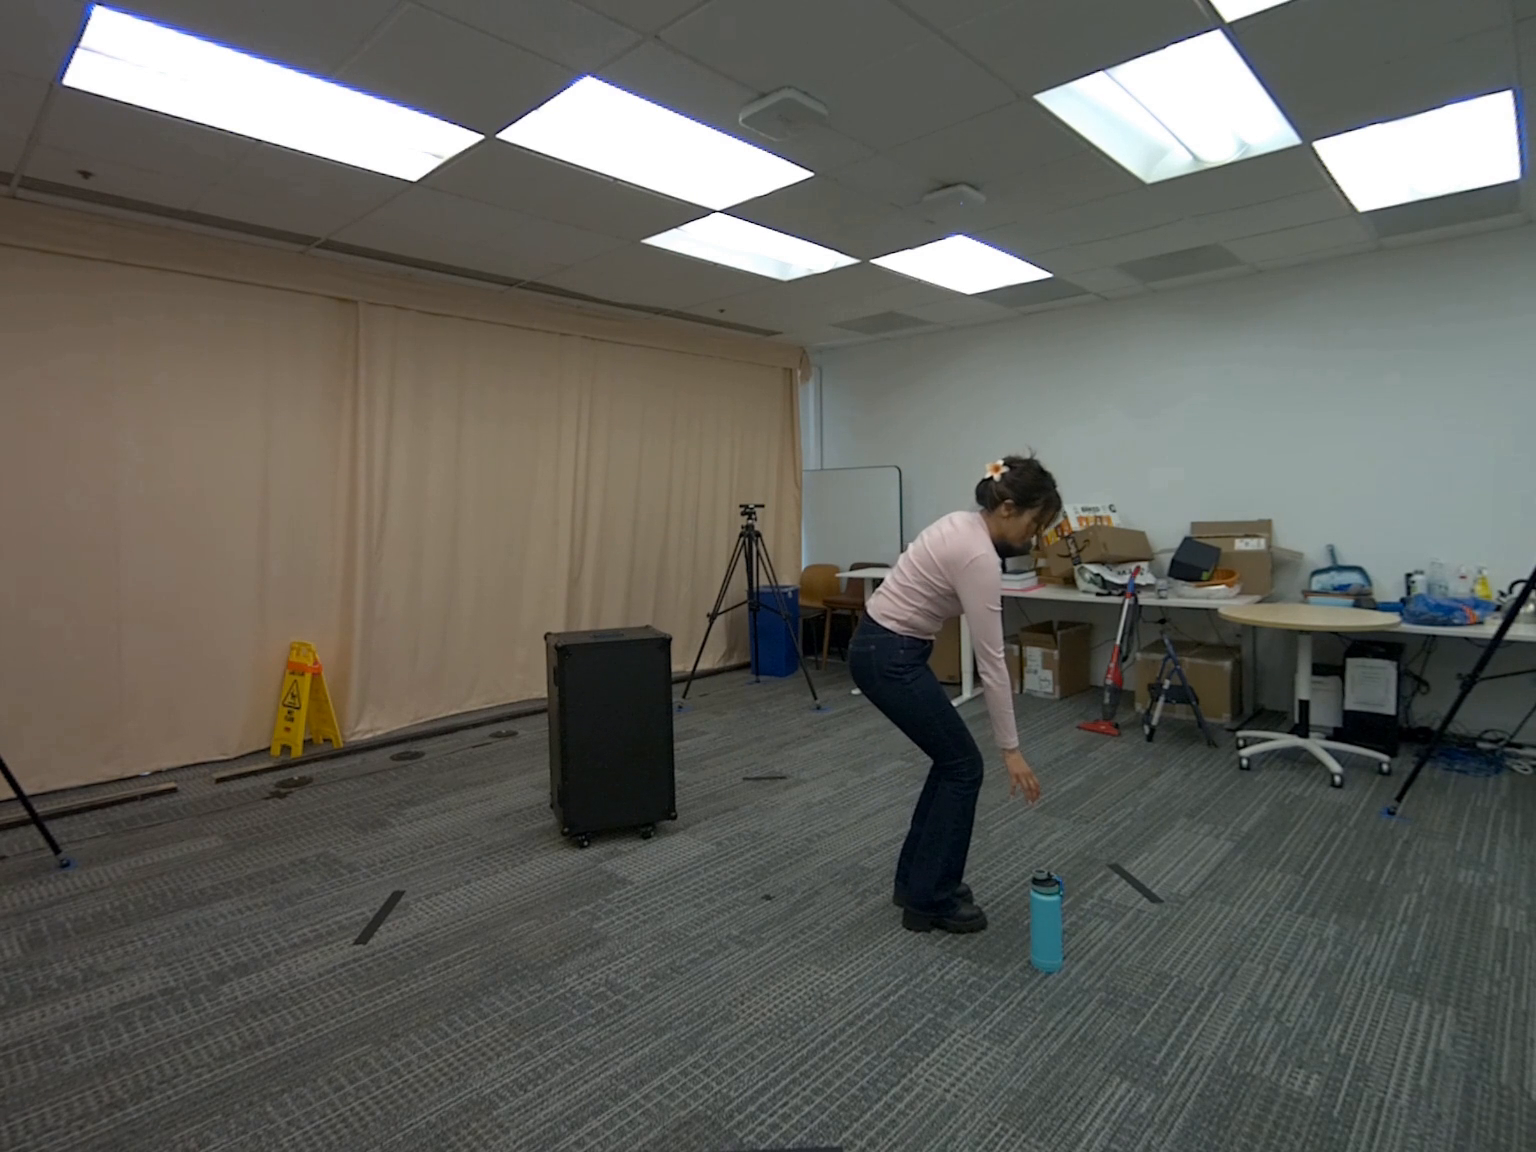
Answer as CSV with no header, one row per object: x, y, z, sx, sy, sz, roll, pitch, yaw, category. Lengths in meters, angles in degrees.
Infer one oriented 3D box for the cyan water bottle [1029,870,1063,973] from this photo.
0.844,1.026,2.514,0.092,0.283,0.092,1,2,-2,cyan water bottle
